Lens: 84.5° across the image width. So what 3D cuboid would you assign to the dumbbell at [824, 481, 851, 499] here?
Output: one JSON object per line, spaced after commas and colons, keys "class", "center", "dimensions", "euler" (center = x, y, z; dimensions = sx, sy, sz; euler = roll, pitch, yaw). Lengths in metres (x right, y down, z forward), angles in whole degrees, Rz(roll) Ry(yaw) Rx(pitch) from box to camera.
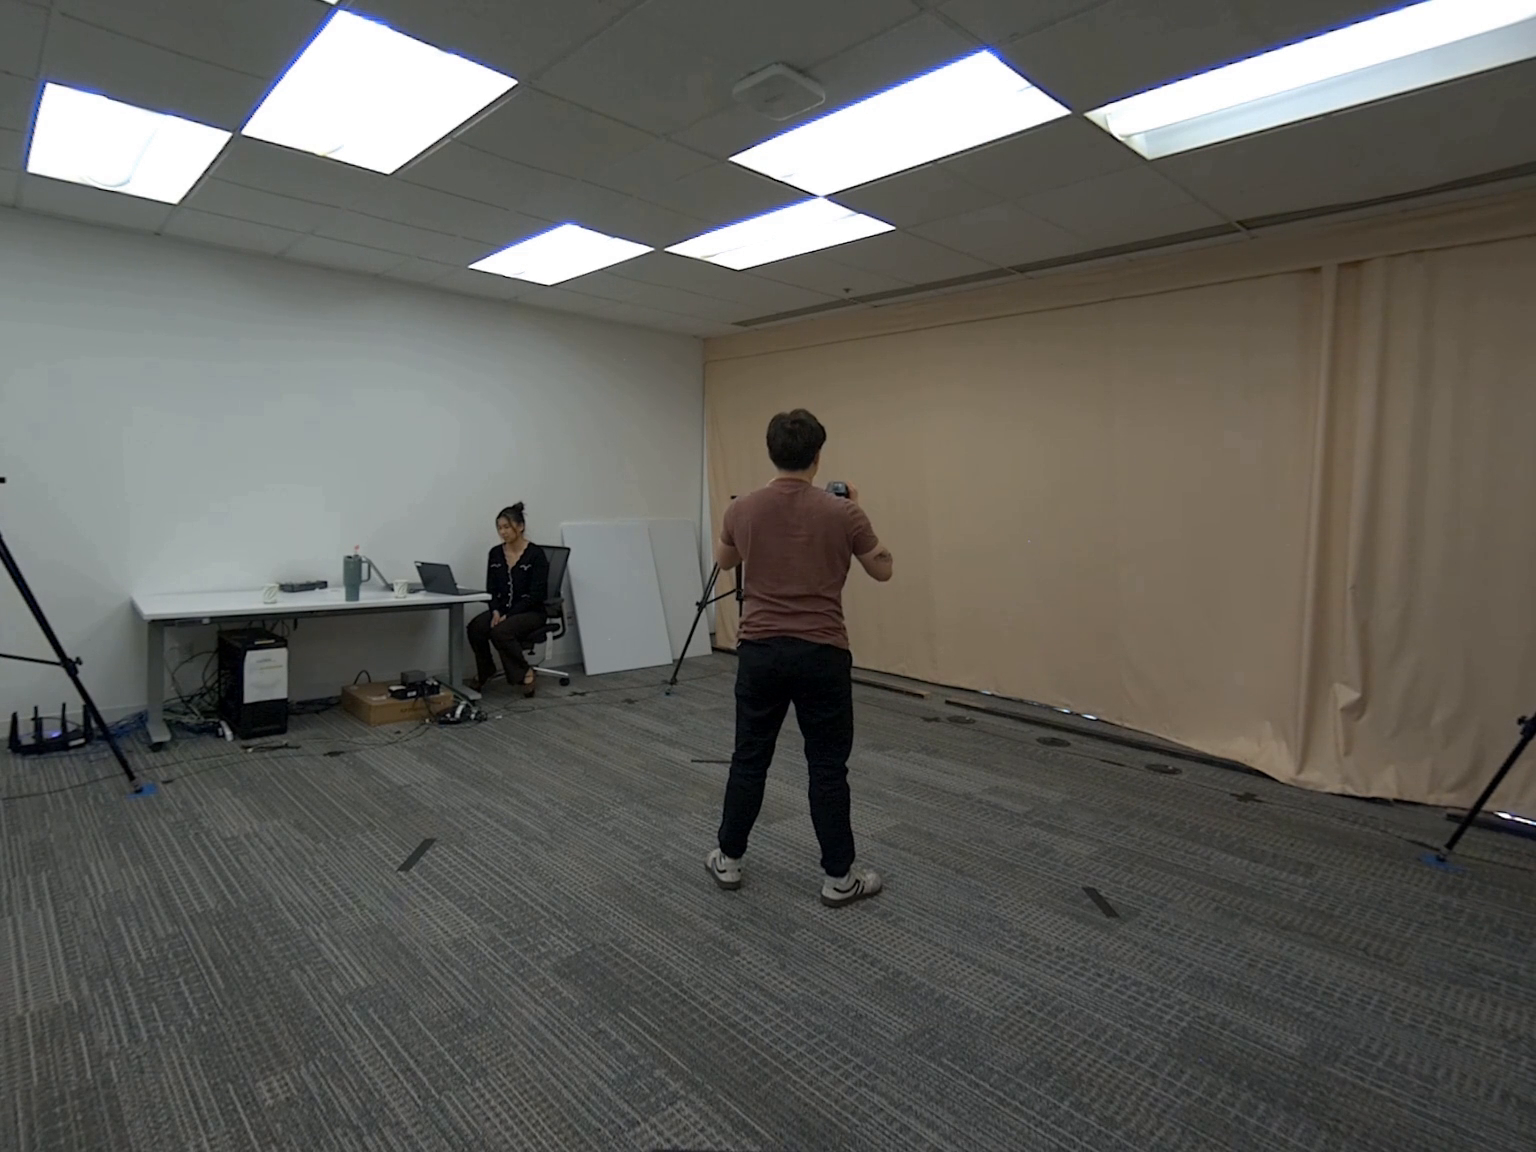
{"class": "dumbbell", "center": [0.159, -0.279, 3.107], "dimensions": [0.296, 0.106, 0.125], "euler": [1, 47, 12]}
